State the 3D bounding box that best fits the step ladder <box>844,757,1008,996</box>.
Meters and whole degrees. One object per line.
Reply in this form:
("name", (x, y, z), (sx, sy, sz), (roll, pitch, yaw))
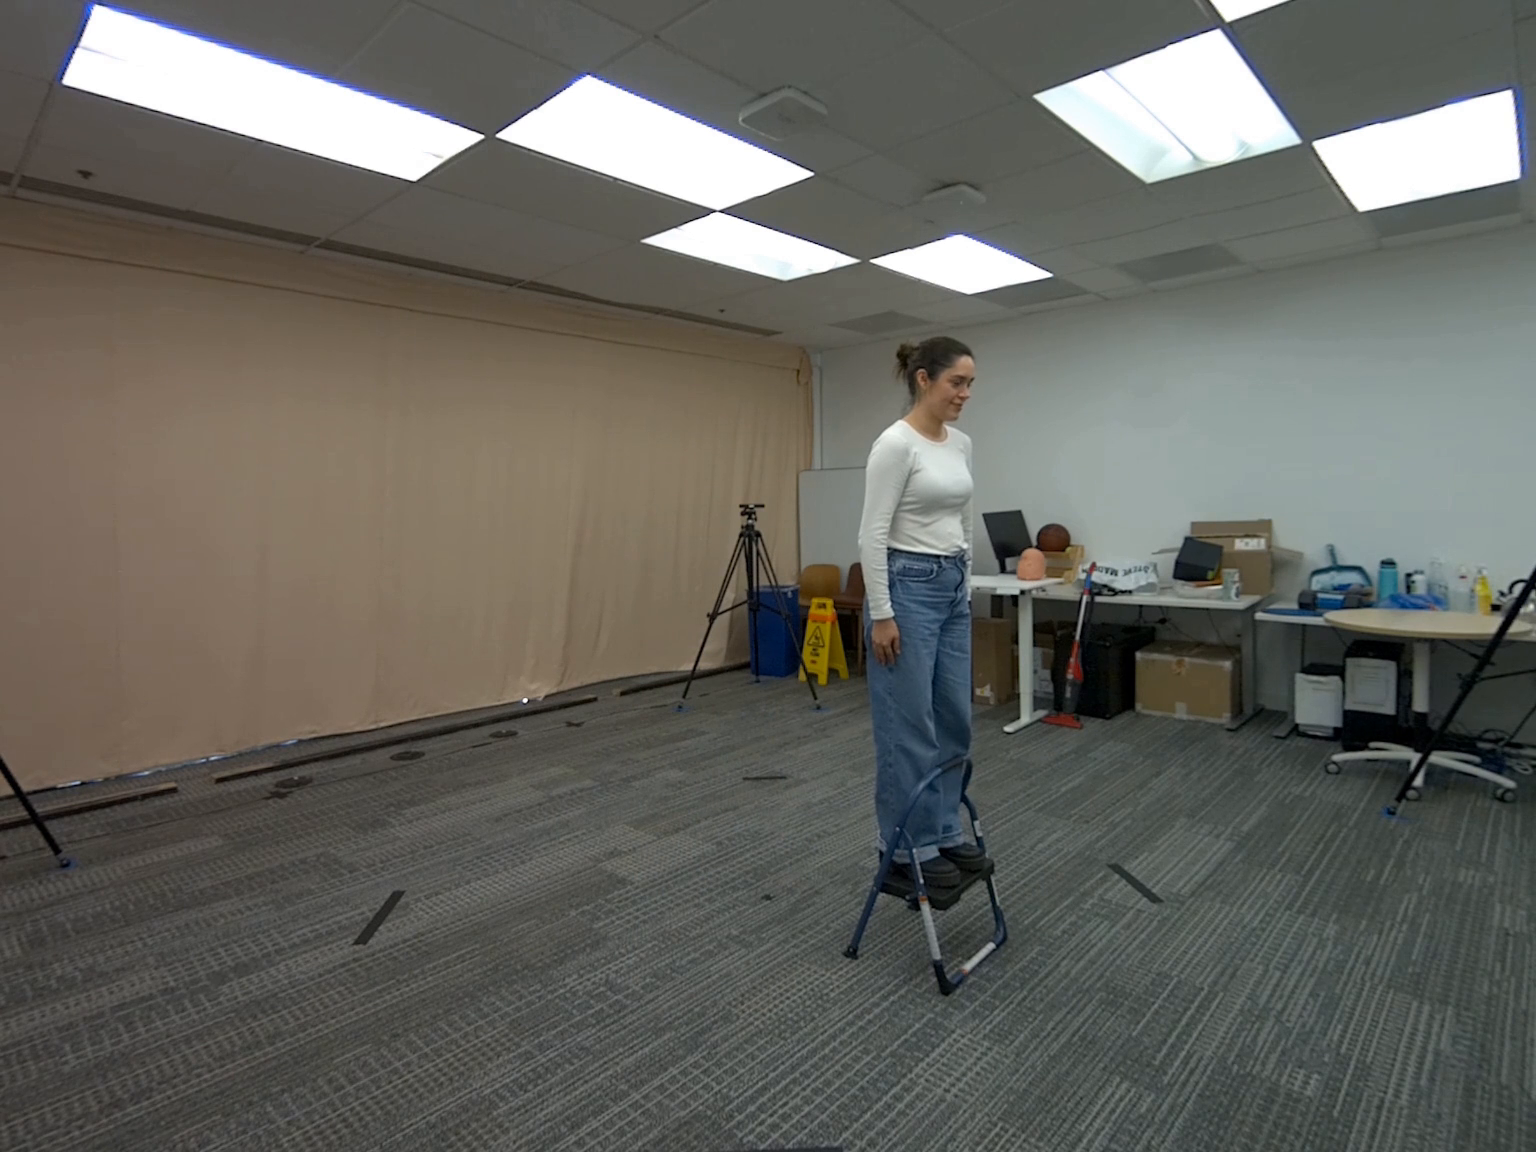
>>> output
("step ladder", (0.499, 0.862, 2.612), (0.361, 0.604, 0.418), (3, 6, 40))
